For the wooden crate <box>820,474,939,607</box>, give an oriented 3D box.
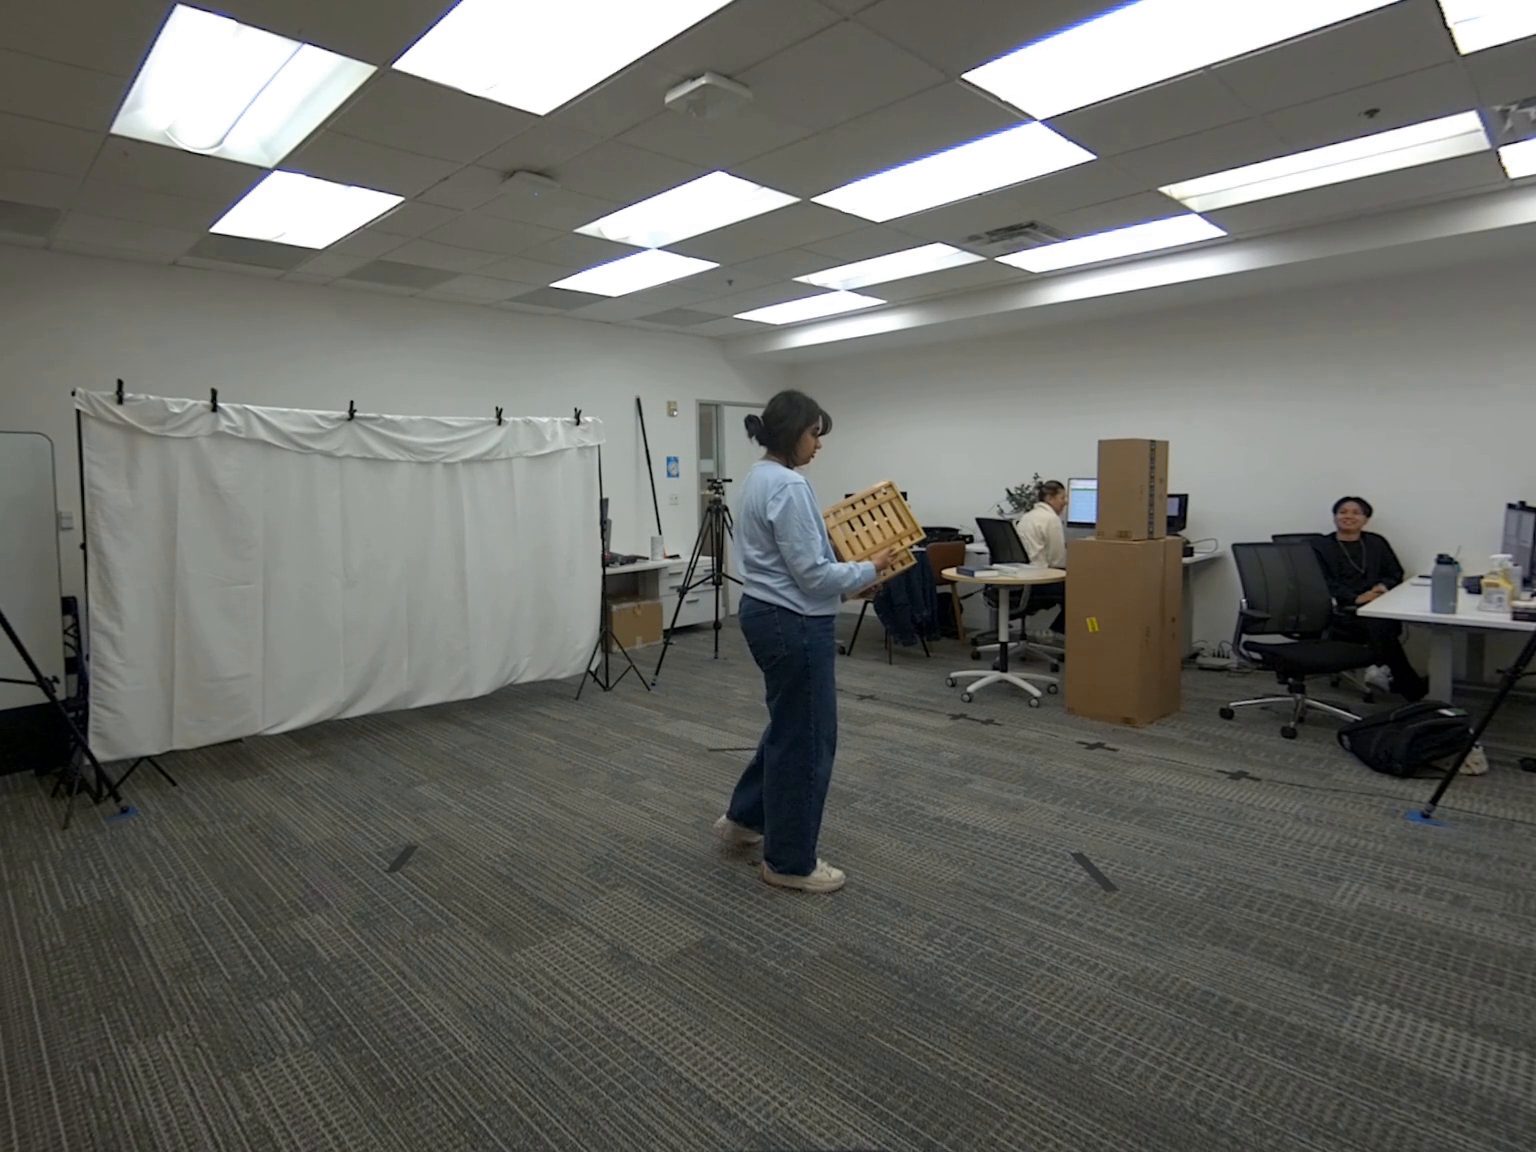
[{"bbox_3d":[0.345,-0.122,3.042,0.322,0.306,0.271,-26,-11,-15],"label":"wooden crate"}]
